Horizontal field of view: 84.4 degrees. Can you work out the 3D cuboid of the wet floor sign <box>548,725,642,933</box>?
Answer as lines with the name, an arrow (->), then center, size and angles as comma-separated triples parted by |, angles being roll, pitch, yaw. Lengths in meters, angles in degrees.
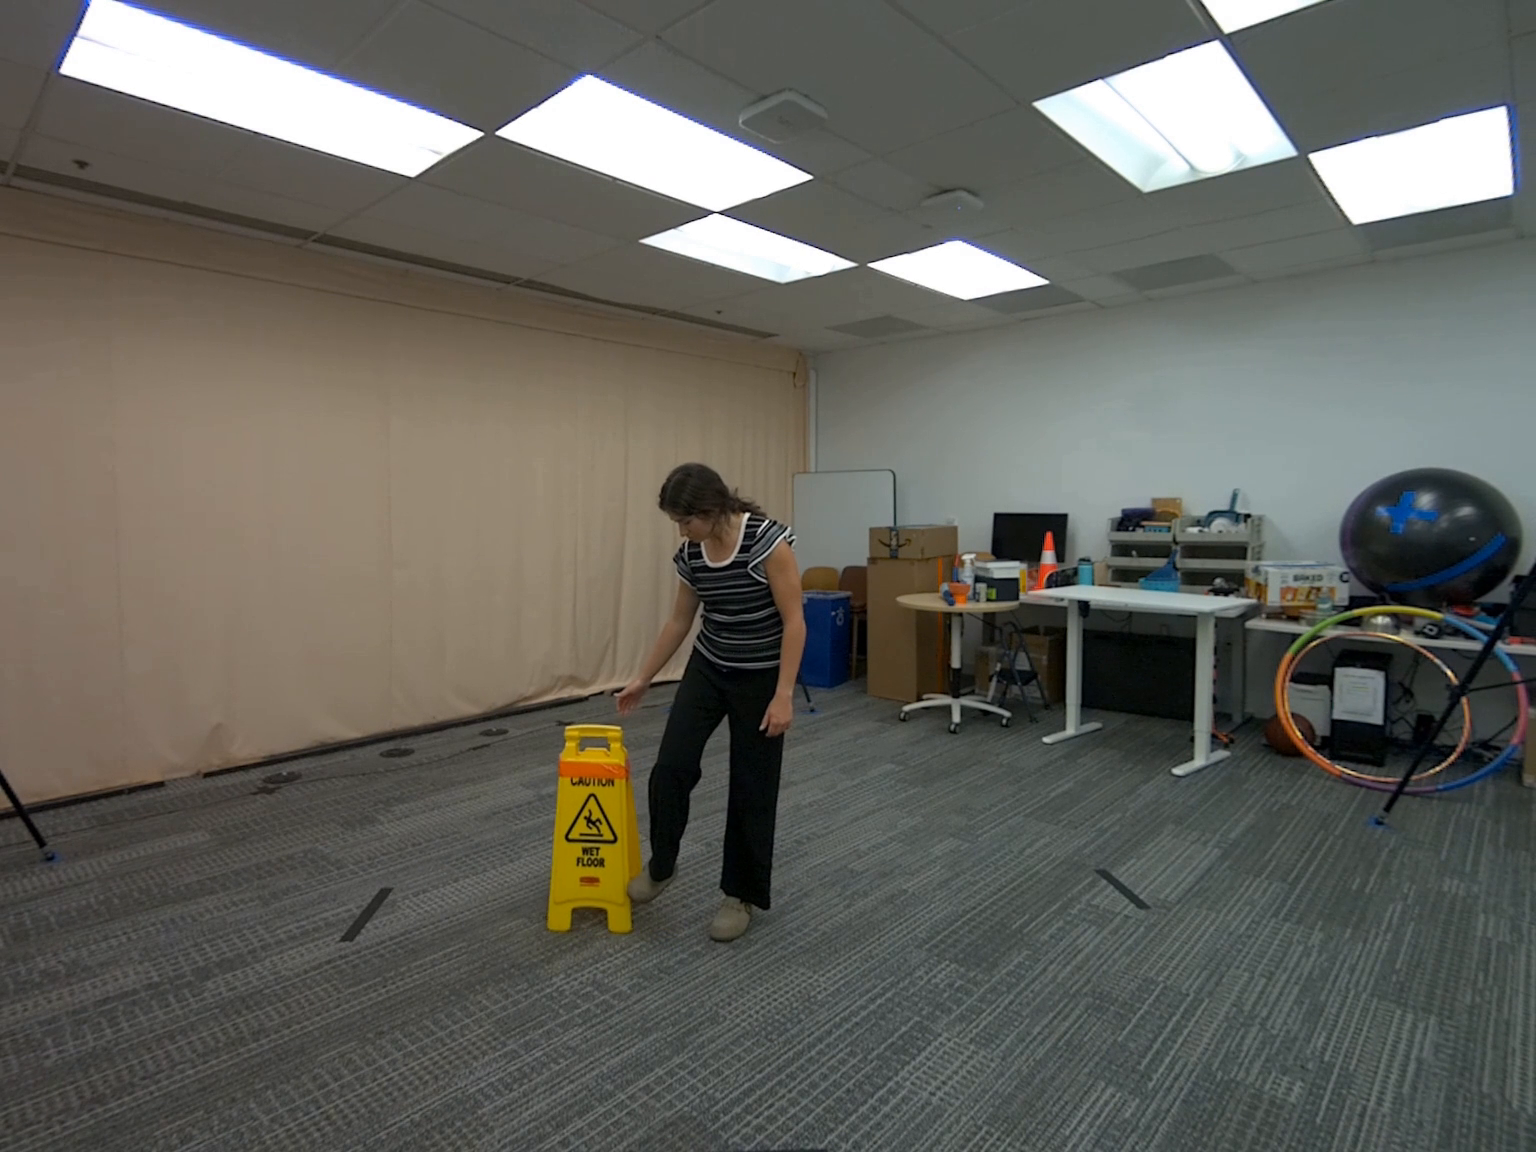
wet floor sign -> -0.589, 0.834, 2.863 | 0.284, 0.645, 0.288 | 0, 2, 4
